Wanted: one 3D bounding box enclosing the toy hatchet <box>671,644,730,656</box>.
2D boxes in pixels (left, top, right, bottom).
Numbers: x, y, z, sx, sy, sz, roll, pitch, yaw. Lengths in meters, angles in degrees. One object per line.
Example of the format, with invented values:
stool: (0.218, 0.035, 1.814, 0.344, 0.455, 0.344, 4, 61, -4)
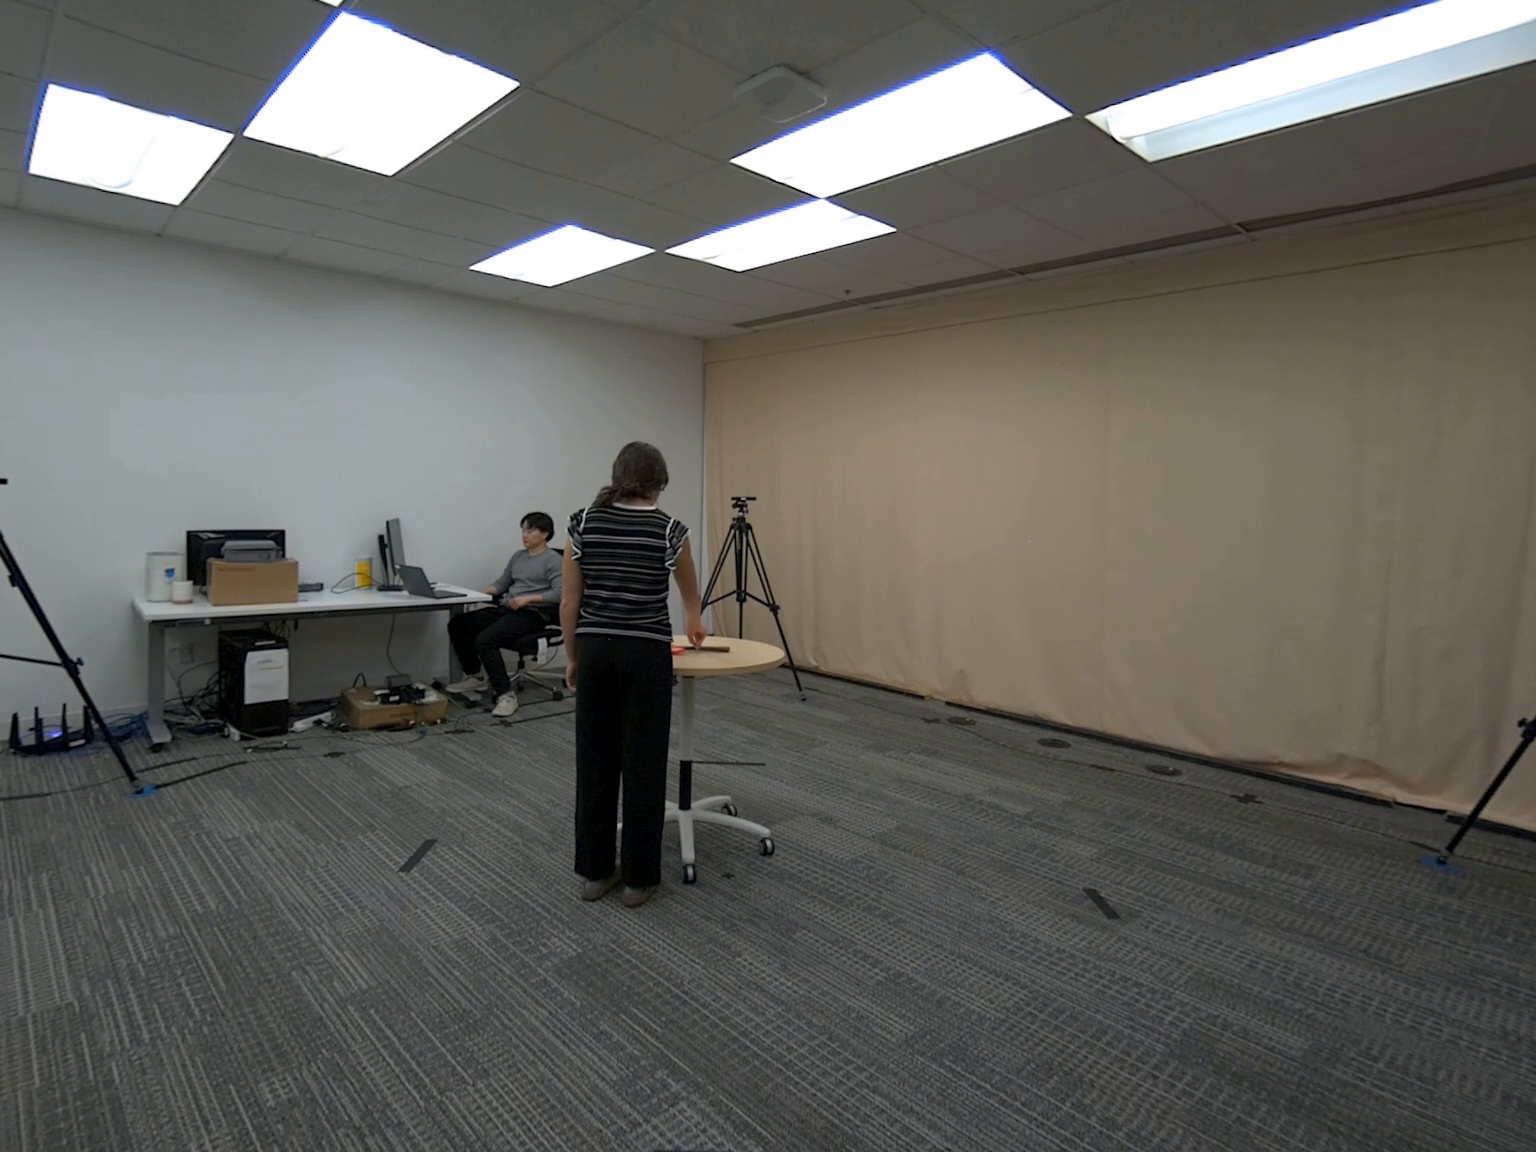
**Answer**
toy hatchet: (-0.298, 0.289, 3.286, 0.270, 0.029, 0.131, 2, 0, 1)
